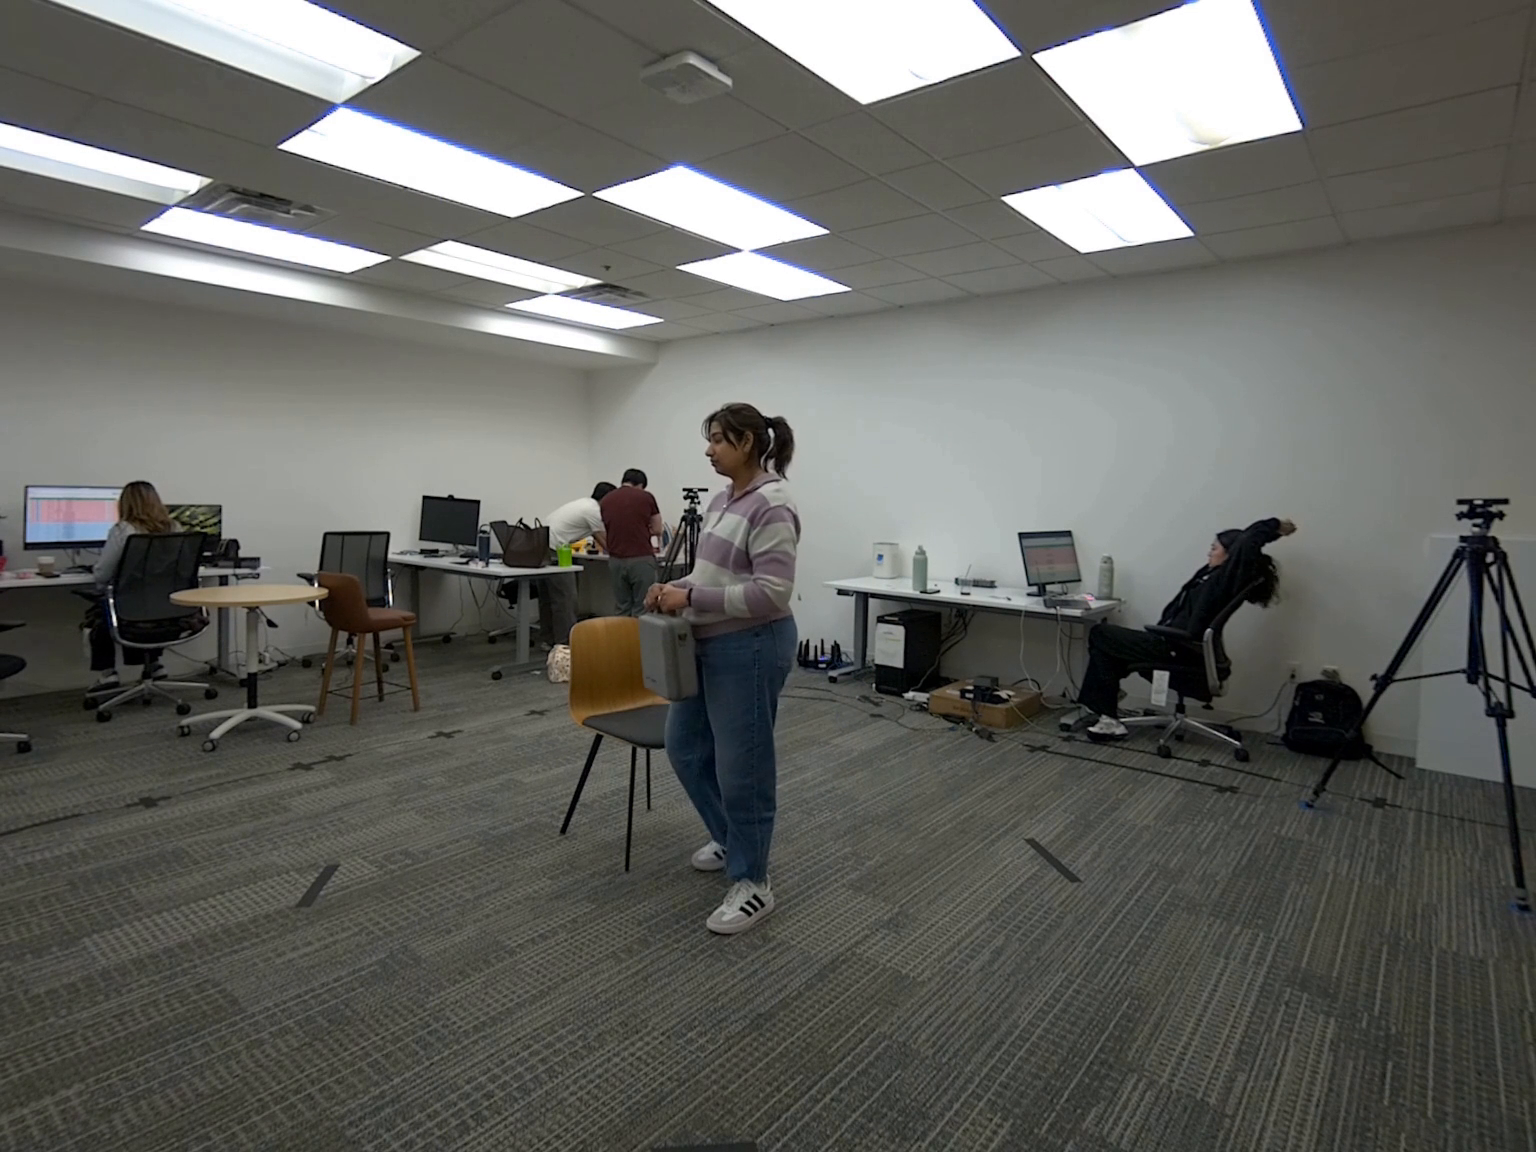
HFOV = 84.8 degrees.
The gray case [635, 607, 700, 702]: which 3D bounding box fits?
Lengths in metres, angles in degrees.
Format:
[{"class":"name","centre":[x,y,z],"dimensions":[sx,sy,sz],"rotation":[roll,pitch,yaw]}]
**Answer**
[{"class":"gray case","centre":[-0.318,0.237,2.703],"dimensions":[0.102,0.259,0.264],"rotation":[-9,6,-28]}]
